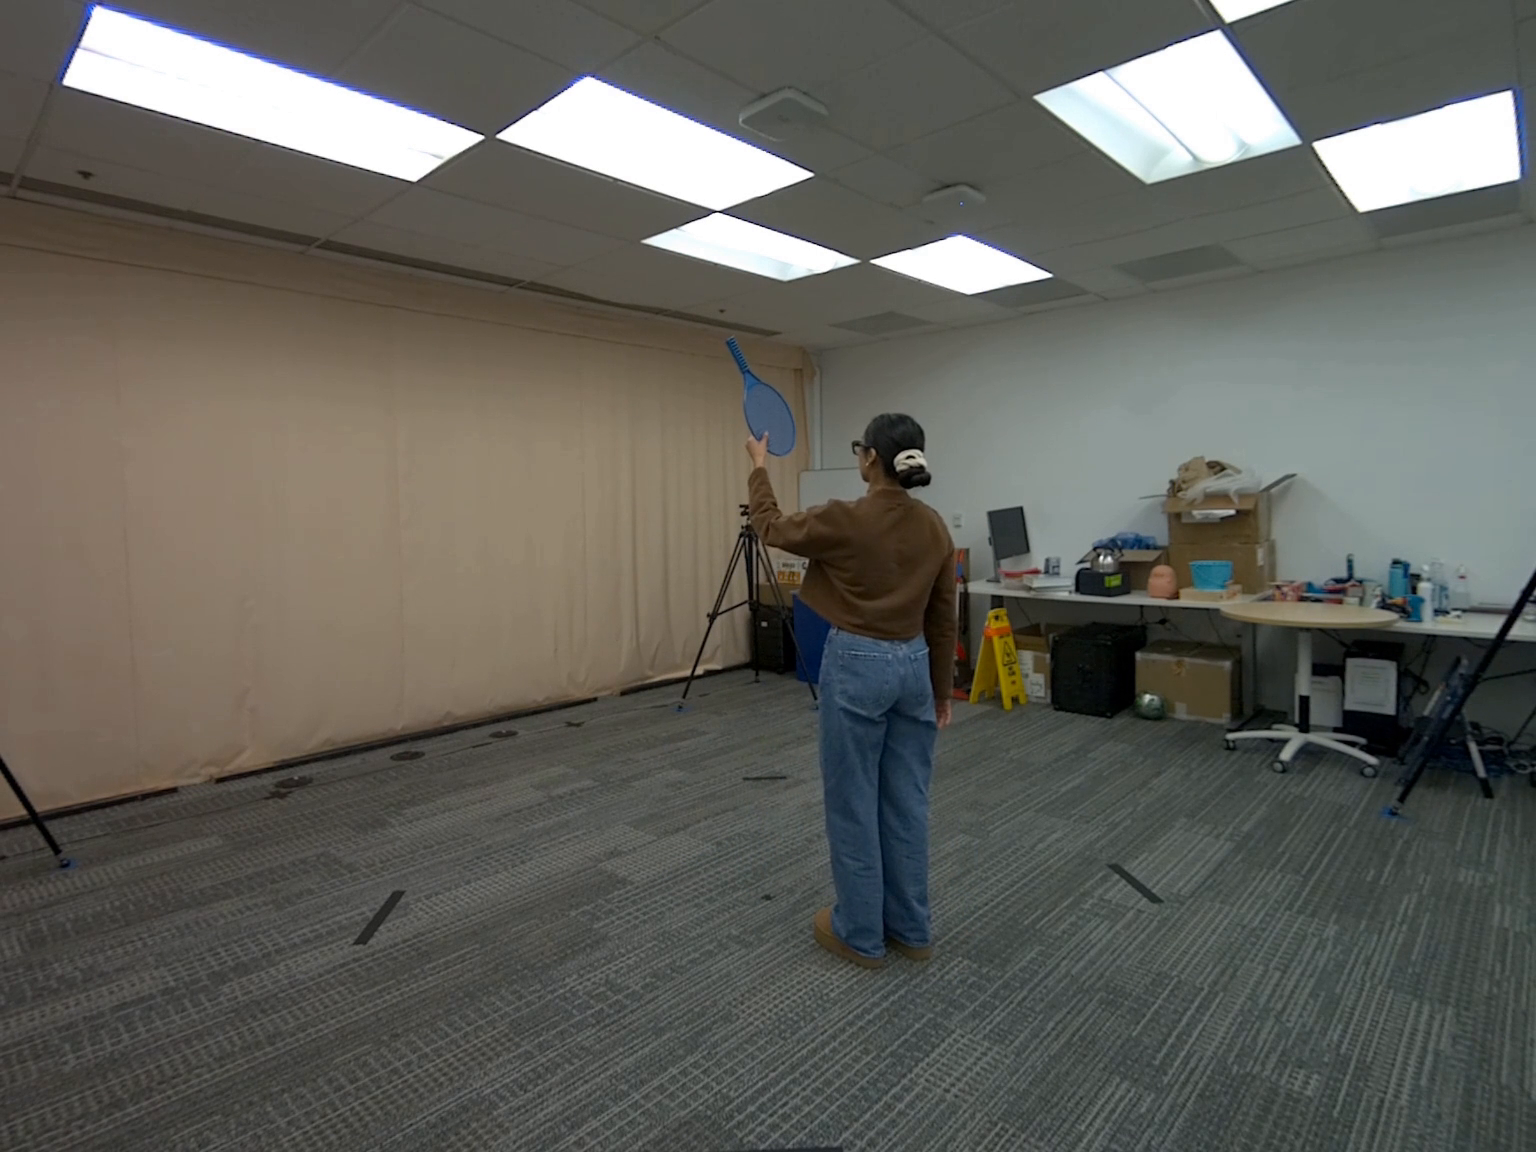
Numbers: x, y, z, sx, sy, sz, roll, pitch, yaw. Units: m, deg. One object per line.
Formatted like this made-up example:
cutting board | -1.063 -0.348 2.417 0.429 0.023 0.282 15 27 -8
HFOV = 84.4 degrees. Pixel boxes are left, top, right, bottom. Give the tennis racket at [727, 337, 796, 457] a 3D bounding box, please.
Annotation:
tennis racket | -0.029 -0.603 2.848 0.032 0.427 0.211 -15 19 50
